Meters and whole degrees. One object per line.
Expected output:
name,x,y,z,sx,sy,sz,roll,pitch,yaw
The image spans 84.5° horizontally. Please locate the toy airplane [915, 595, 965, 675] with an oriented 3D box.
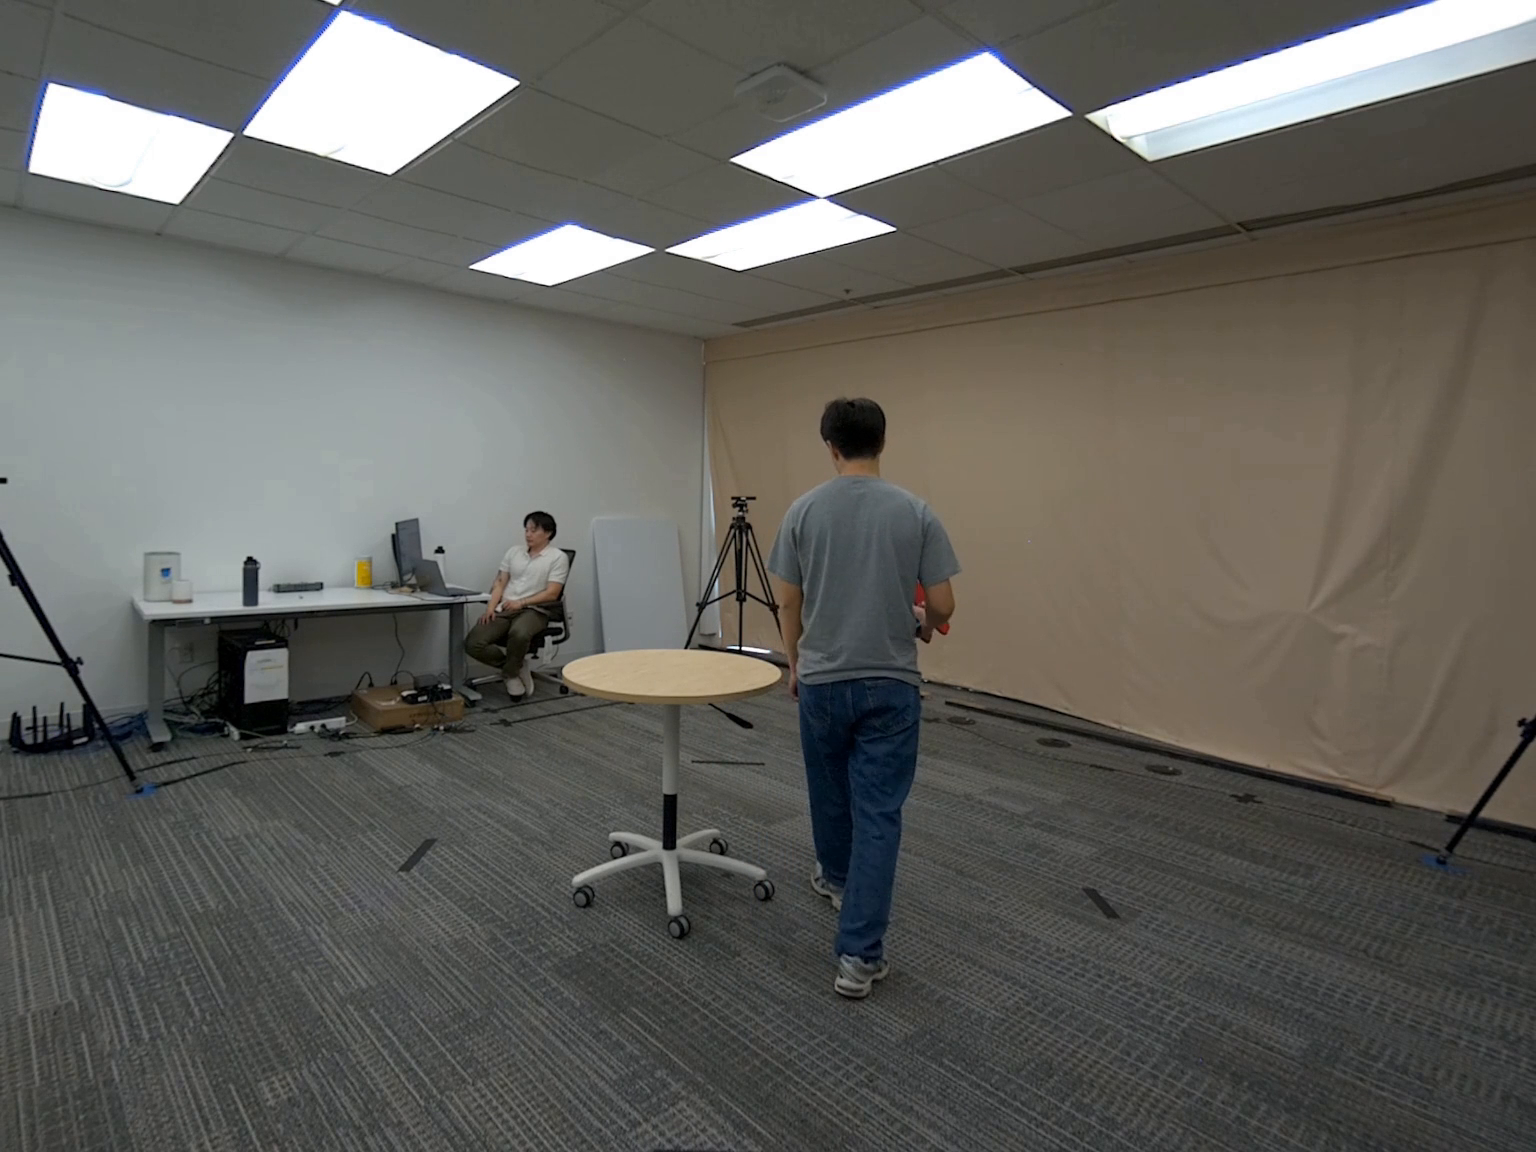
toy airplane,0.503,0.147,2.910,0.157,0.266,0.244,-36,-53,25
